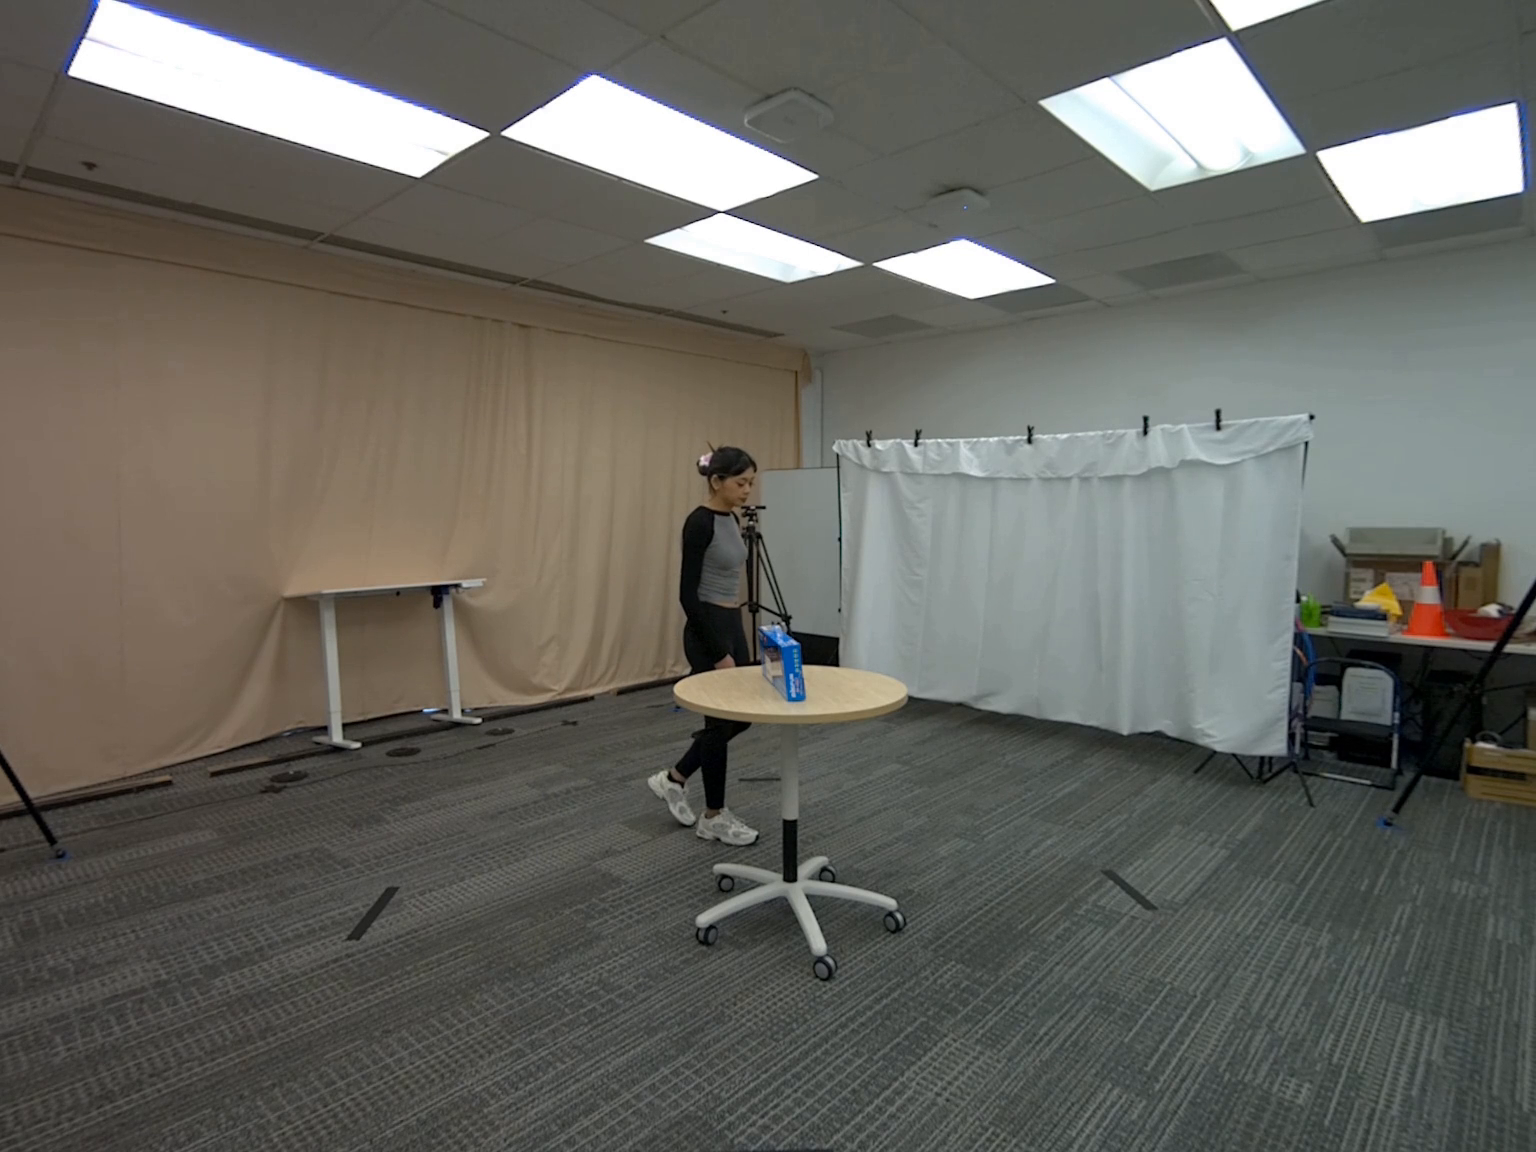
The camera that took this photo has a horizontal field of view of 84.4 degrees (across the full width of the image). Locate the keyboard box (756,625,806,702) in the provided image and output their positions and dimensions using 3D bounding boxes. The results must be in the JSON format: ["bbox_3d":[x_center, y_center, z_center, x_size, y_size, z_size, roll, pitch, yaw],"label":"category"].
[{"bbox_3d":[0.044,0.281,2.775,0.058,0.175,0.441,-4,5,-9],"label":"keyboard box"}]
